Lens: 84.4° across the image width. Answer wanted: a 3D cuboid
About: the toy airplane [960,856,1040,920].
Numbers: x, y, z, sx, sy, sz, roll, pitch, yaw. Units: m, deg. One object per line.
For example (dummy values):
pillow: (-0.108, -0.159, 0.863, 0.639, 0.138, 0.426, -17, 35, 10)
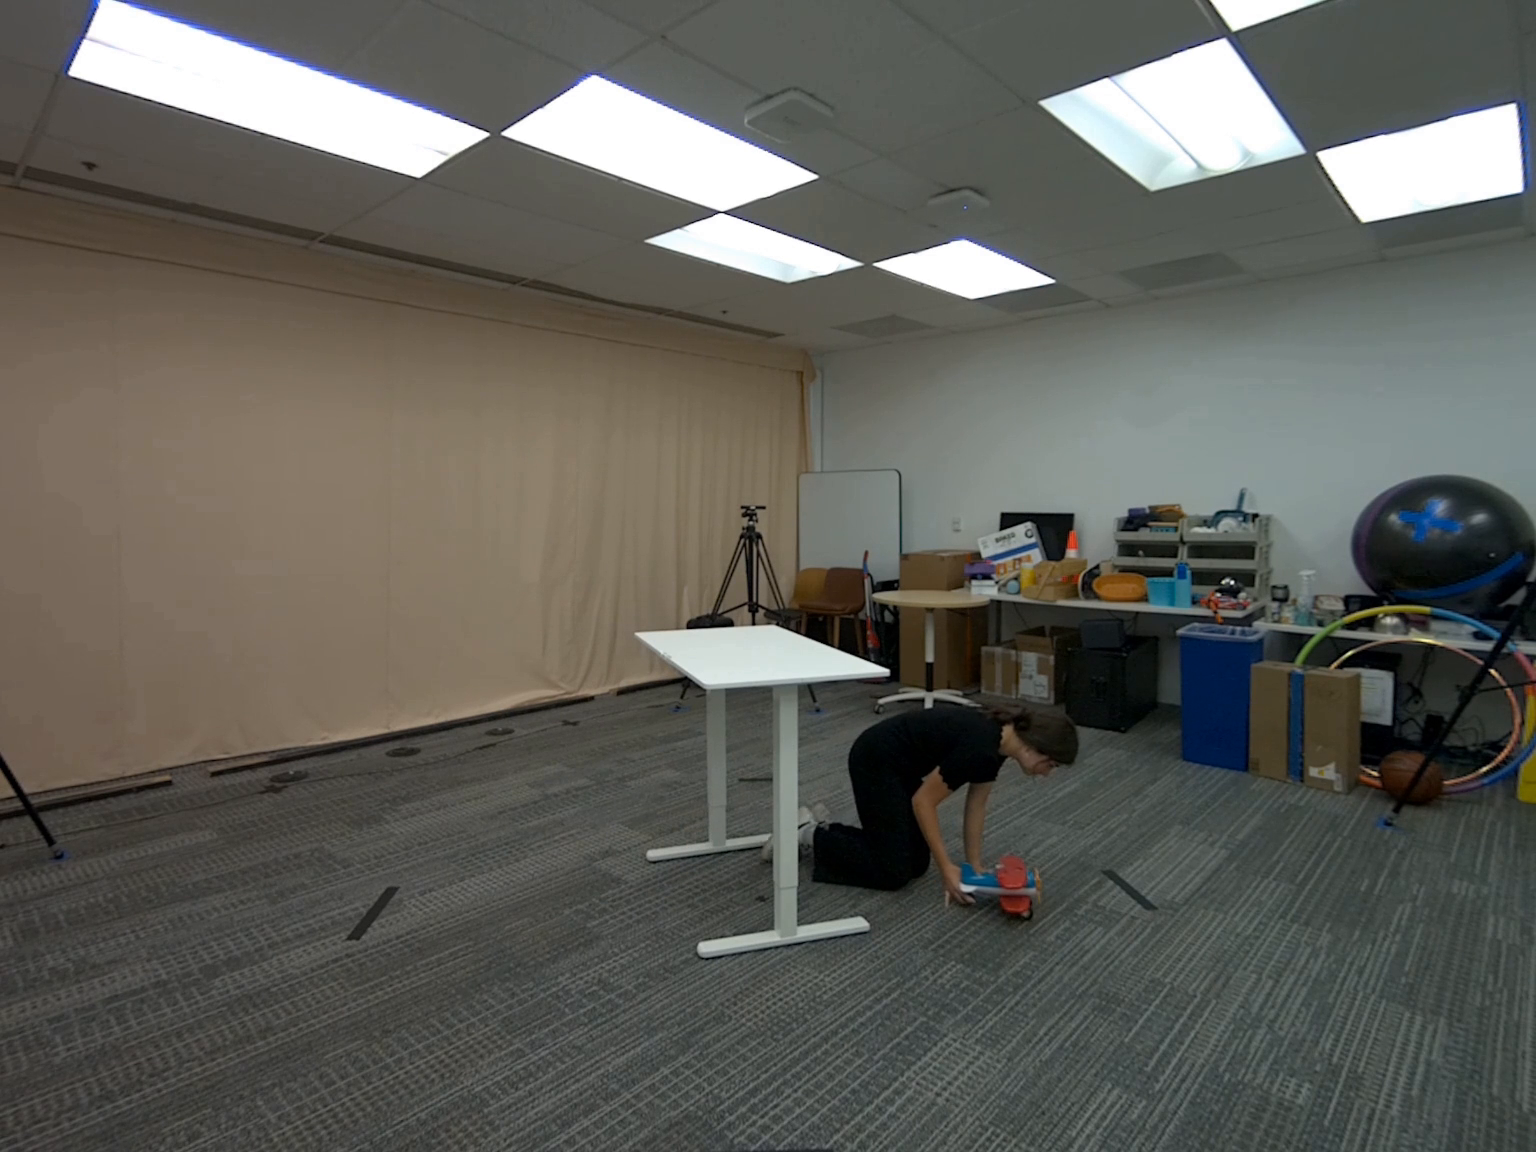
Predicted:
toy airplane: (0.801, 1.069, 2.868, 0.256, 0.156, 0.255, 7, 5, -13)
